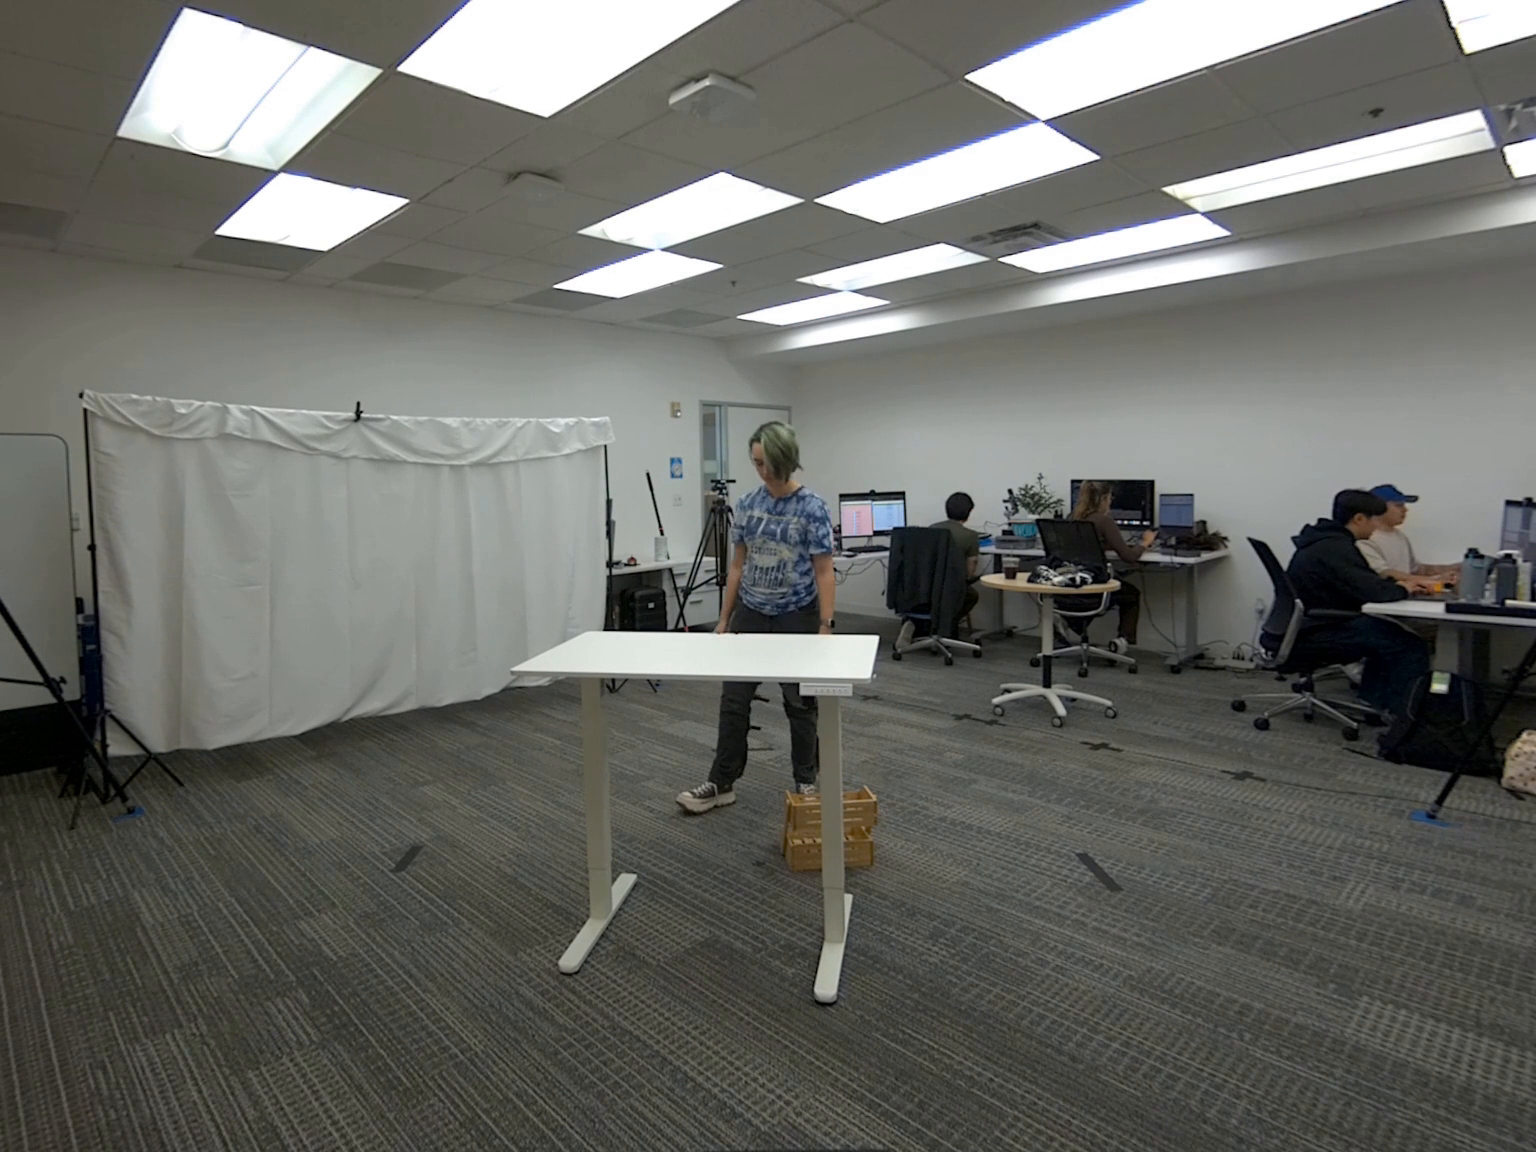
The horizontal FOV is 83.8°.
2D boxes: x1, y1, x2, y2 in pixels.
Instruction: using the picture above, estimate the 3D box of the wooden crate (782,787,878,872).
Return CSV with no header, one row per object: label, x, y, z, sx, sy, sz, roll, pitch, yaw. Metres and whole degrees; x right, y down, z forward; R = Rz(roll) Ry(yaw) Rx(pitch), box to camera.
wooden crate,0.218,0.906,3.149,0.322,0.272,0.305,-1,5,-8
